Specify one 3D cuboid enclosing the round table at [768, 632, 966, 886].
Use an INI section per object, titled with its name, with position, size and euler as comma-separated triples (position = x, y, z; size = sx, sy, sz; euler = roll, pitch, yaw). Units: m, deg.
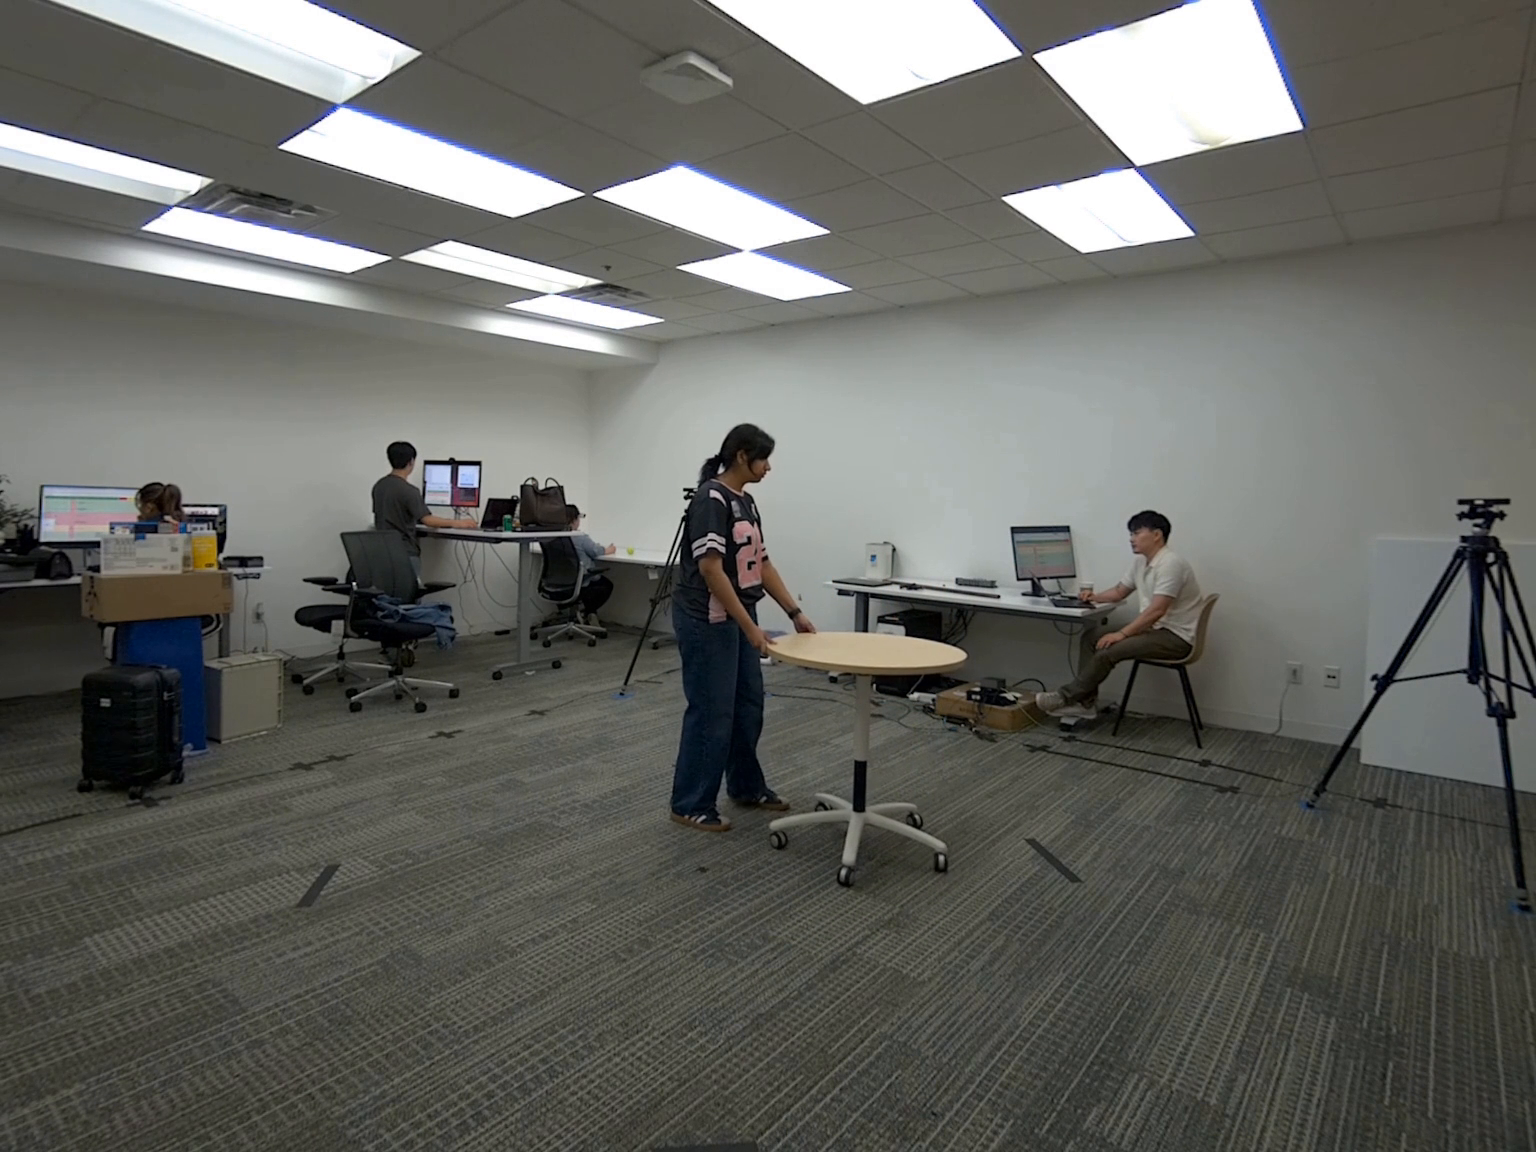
[round table]
position = 0.352, 0.669, 3.326
size = 0.763, 0.792, 0.767
euler = 2, 4, -2
